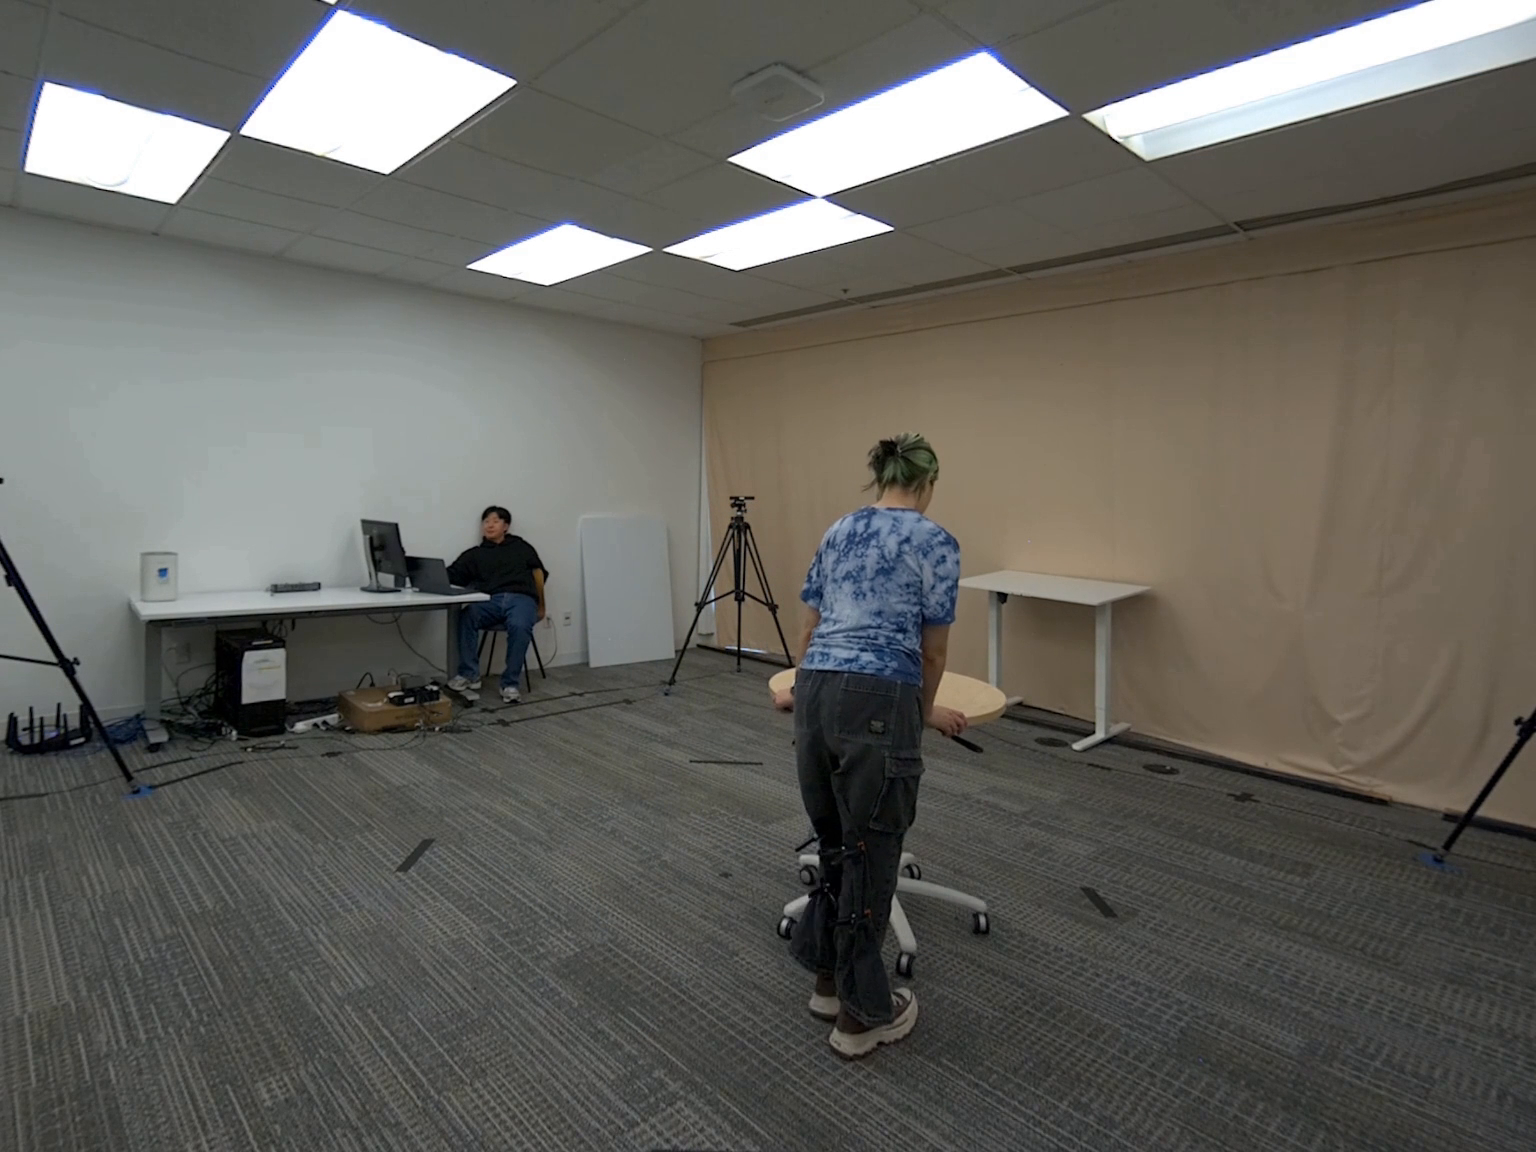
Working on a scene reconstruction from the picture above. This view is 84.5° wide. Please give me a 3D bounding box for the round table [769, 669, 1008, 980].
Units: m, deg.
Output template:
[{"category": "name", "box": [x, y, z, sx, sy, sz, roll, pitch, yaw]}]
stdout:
[{"category": "round table", "box": [0.376, 0.761, 2.802, 0.763, 0.791, 0.767, 2, 5, -2]}]
